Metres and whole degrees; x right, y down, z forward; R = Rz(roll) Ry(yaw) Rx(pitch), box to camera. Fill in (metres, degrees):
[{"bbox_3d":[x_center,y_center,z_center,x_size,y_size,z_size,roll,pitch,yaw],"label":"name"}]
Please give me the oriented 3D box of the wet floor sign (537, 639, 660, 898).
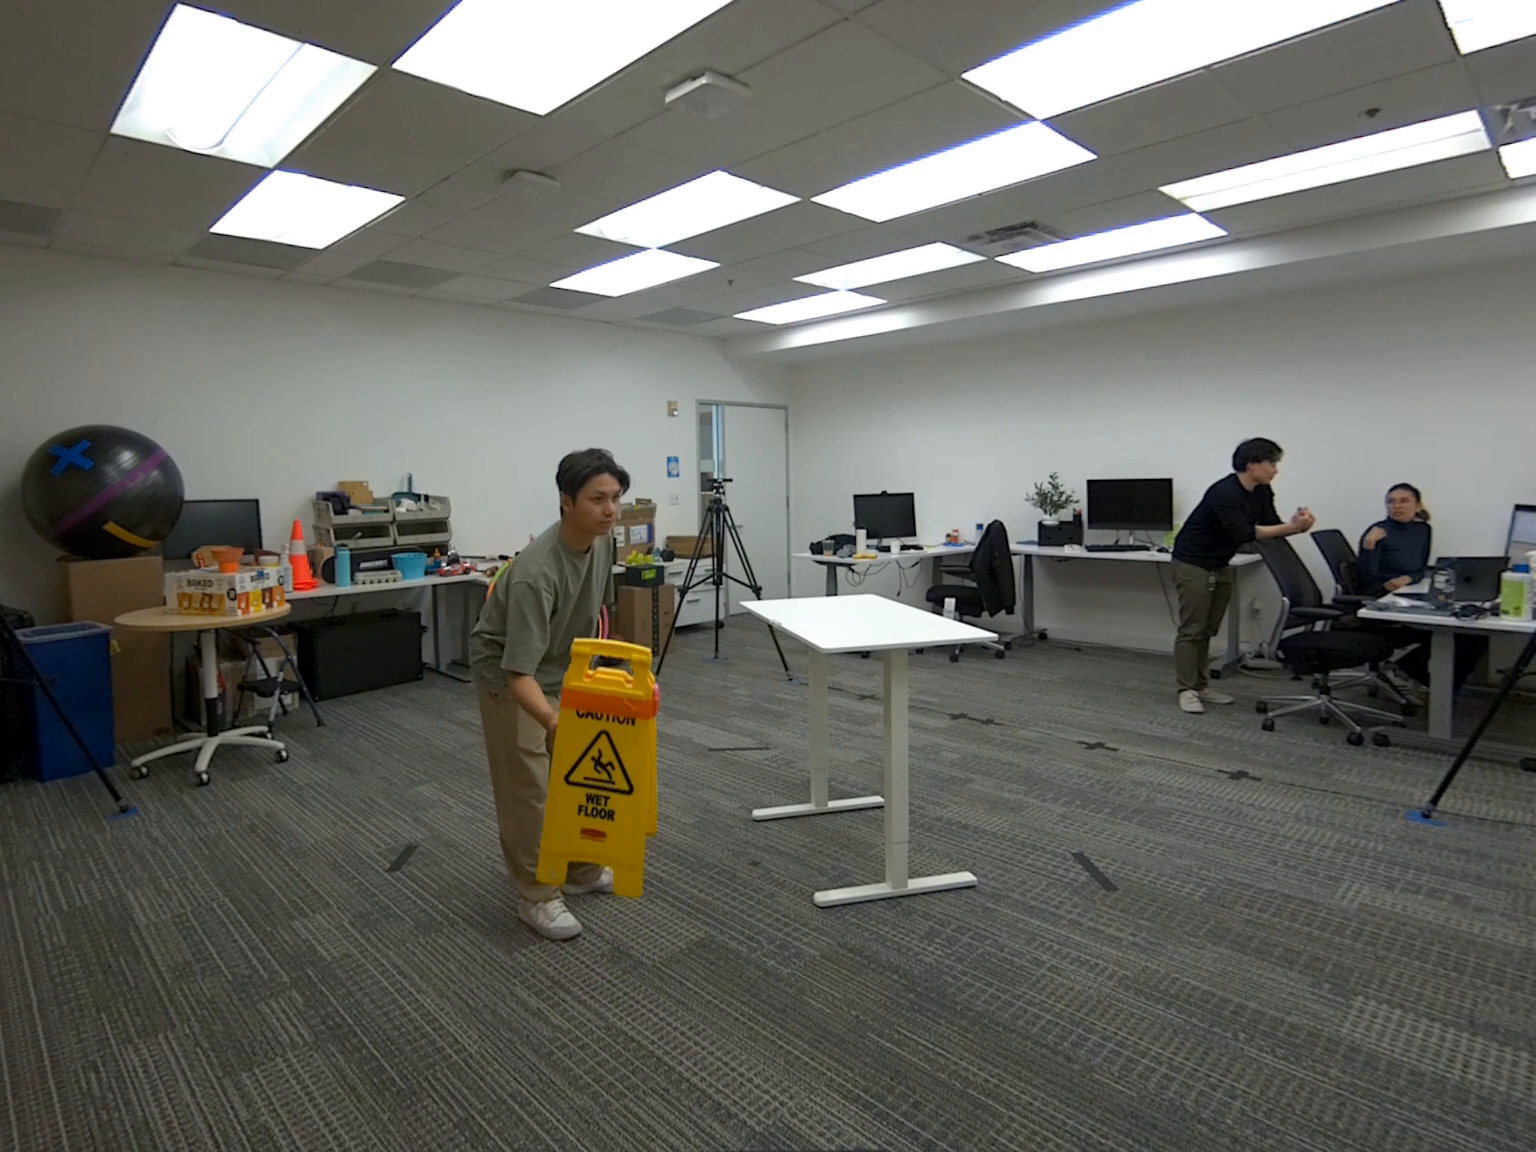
[{"bbox_3d":[-0.416,0.462,2.190,0.283,0.636,0.294,7,19,0],"label":"wet floor sign"}]
